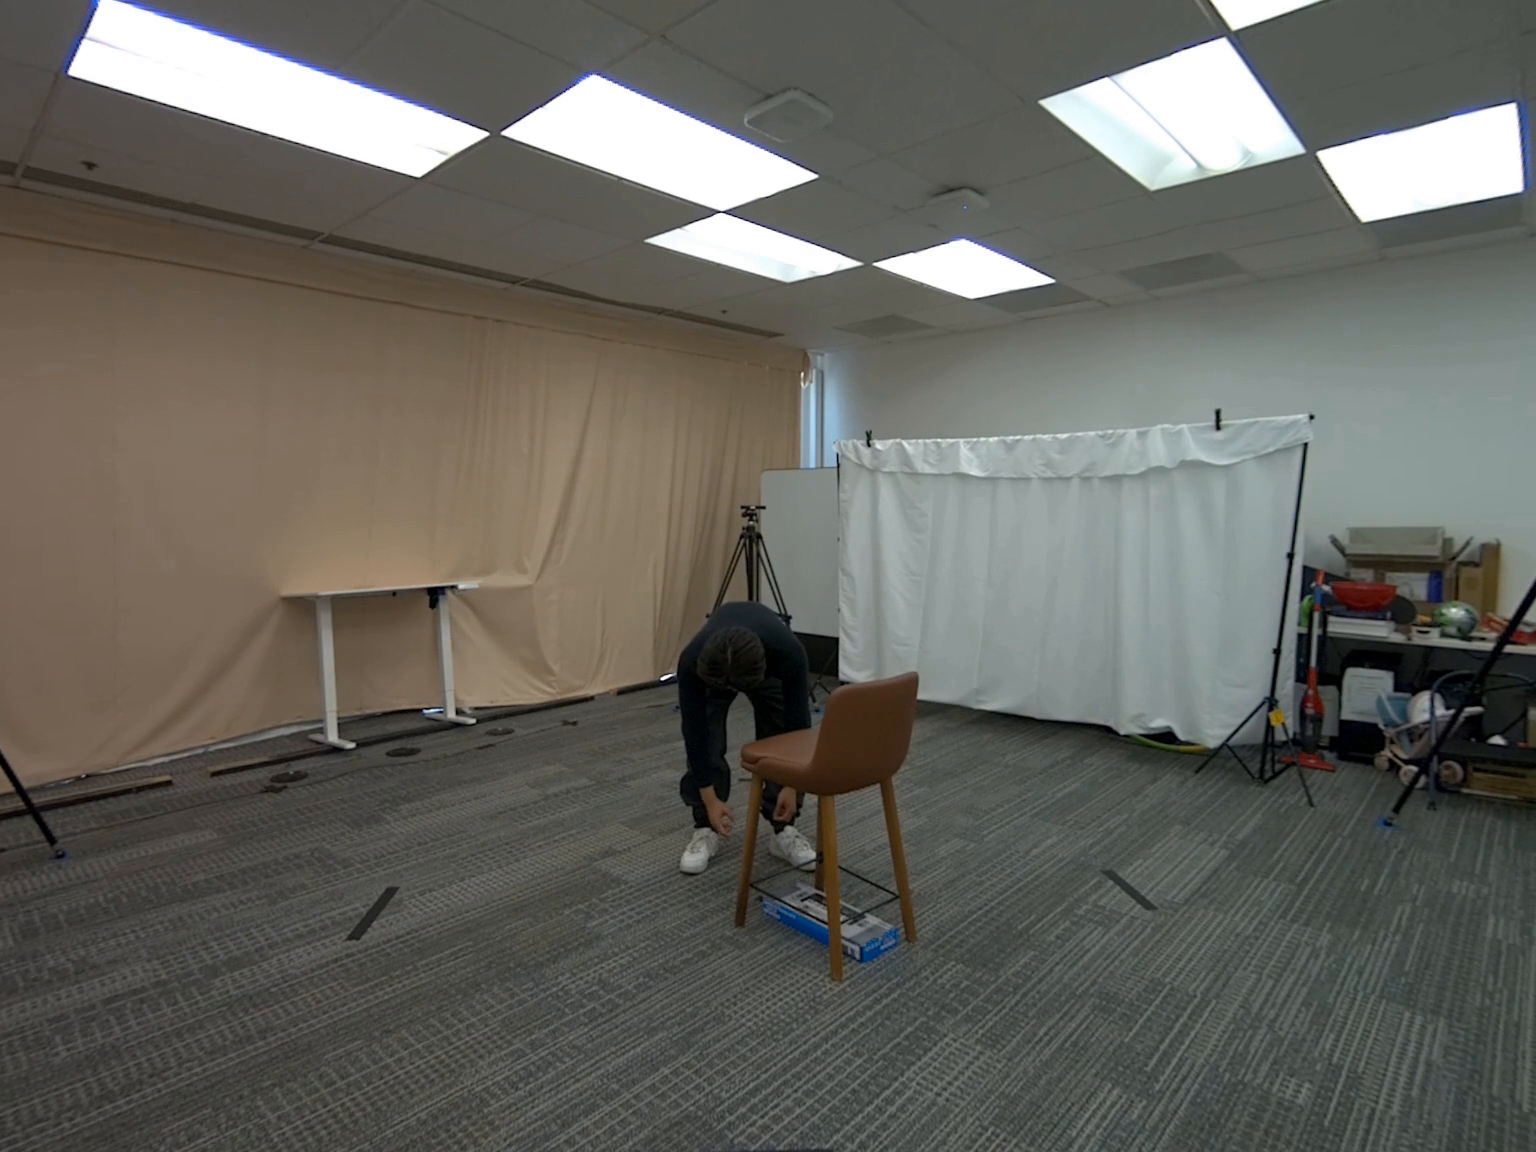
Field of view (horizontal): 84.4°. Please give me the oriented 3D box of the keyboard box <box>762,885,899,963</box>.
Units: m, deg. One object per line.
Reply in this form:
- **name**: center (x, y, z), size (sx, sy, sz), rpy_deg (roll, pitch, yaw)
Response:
- **keyboard box**: center (0.196, 1.135, 2.771), size (0.171, 0.059, 0.451), rpy_deg (-8, 8, -42)
